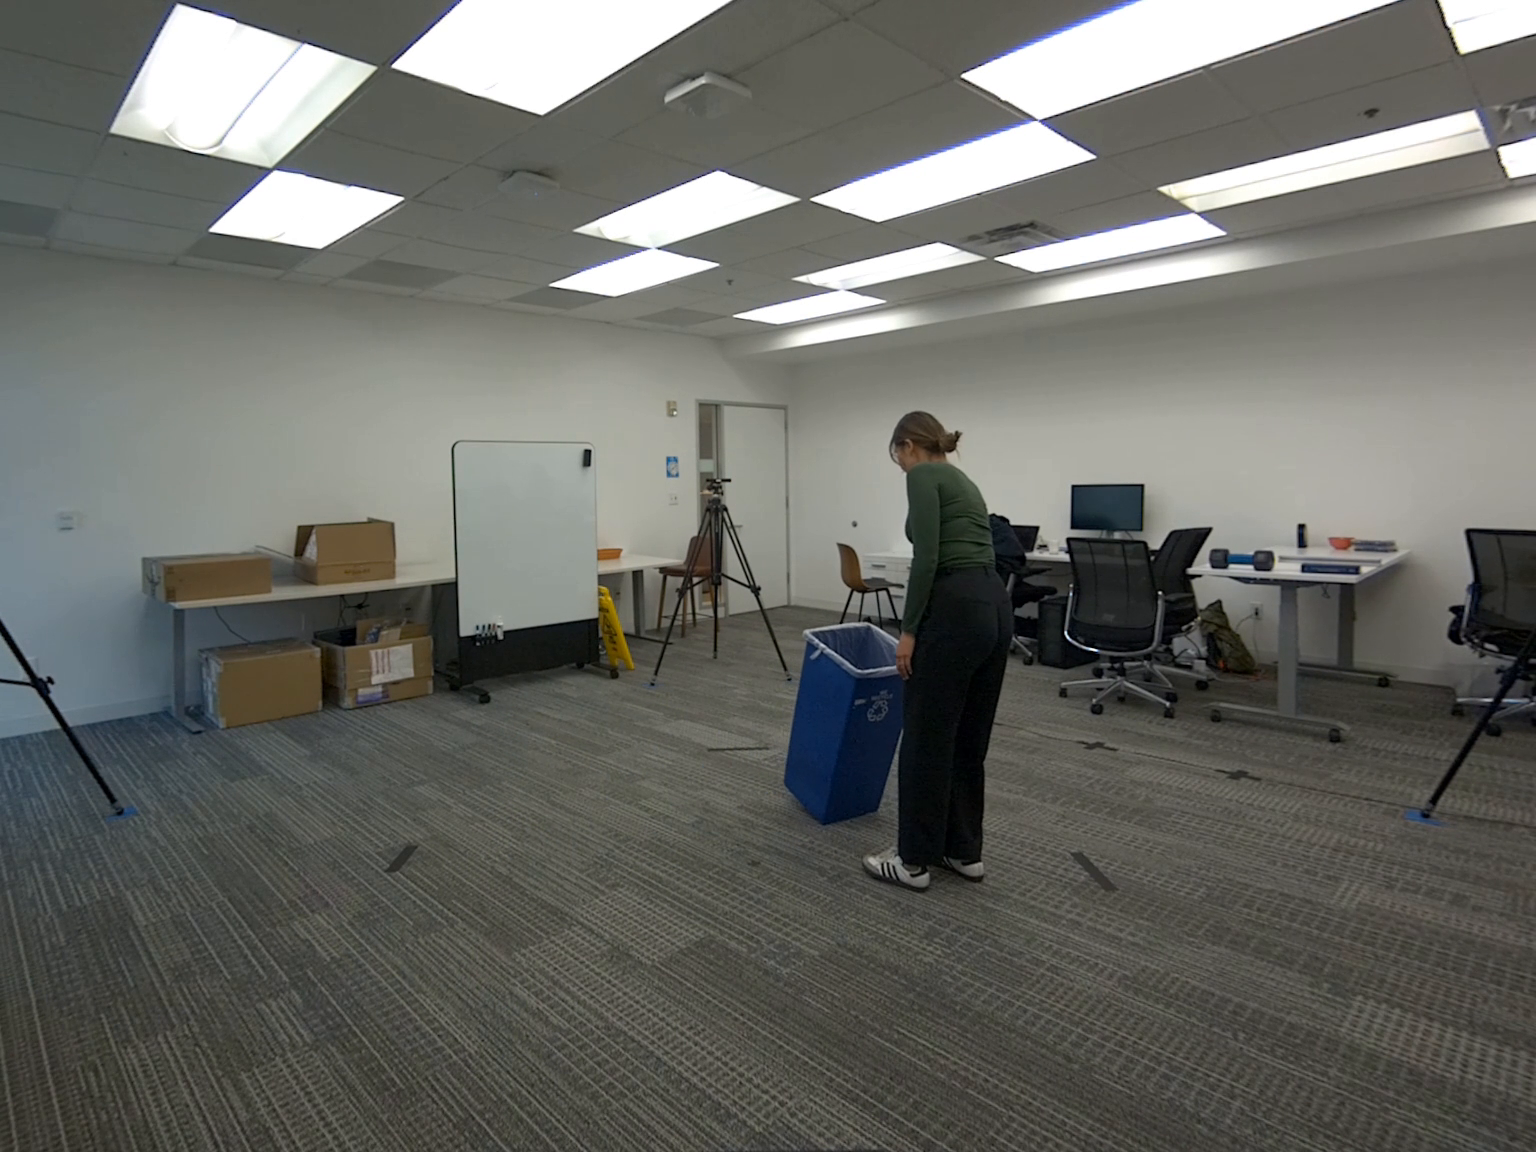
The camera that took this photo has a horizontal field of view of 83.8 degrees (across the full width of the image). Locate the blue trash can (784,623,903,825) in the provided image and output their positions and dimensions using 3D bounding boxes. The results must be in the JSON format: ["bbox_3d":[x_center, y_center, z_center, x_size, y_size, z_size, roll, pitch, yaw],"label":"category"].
[{"bbox_3d":[0.318,0.606,3.515,0.368,0.704,0.389,-3,23,-33],"label":"blue trash can"}]
